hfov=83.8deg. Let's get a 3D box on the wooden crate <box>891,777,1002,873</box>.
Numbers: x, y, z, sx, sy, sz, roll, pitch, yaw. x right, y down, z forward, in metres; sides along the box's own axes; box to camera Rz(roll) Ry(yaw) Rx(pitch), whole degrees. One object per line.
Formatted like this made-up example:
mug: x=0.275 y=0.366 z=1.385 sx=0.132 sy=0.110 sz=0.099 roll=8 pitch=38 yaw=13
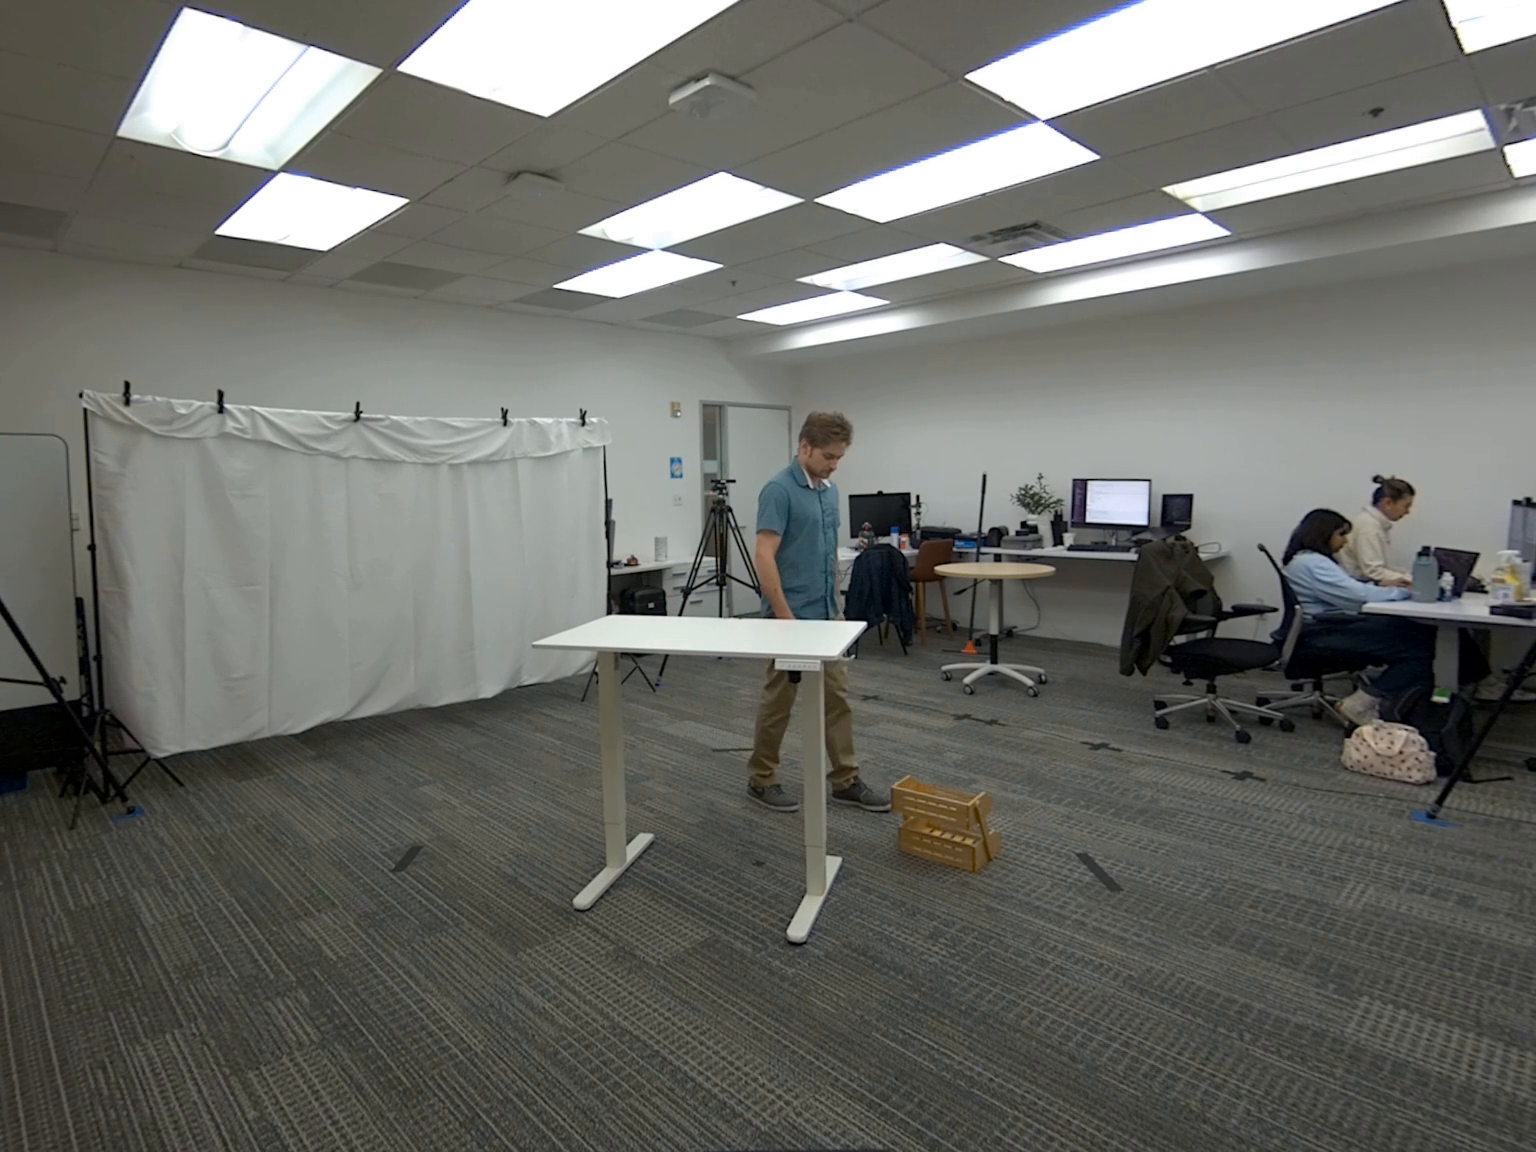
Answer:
wooden crate: x=0.667 y=0.894 z=3.171 sx=0.334 sy=0.272 sz=0.294 roll=3 pitch=6 yaw=38
